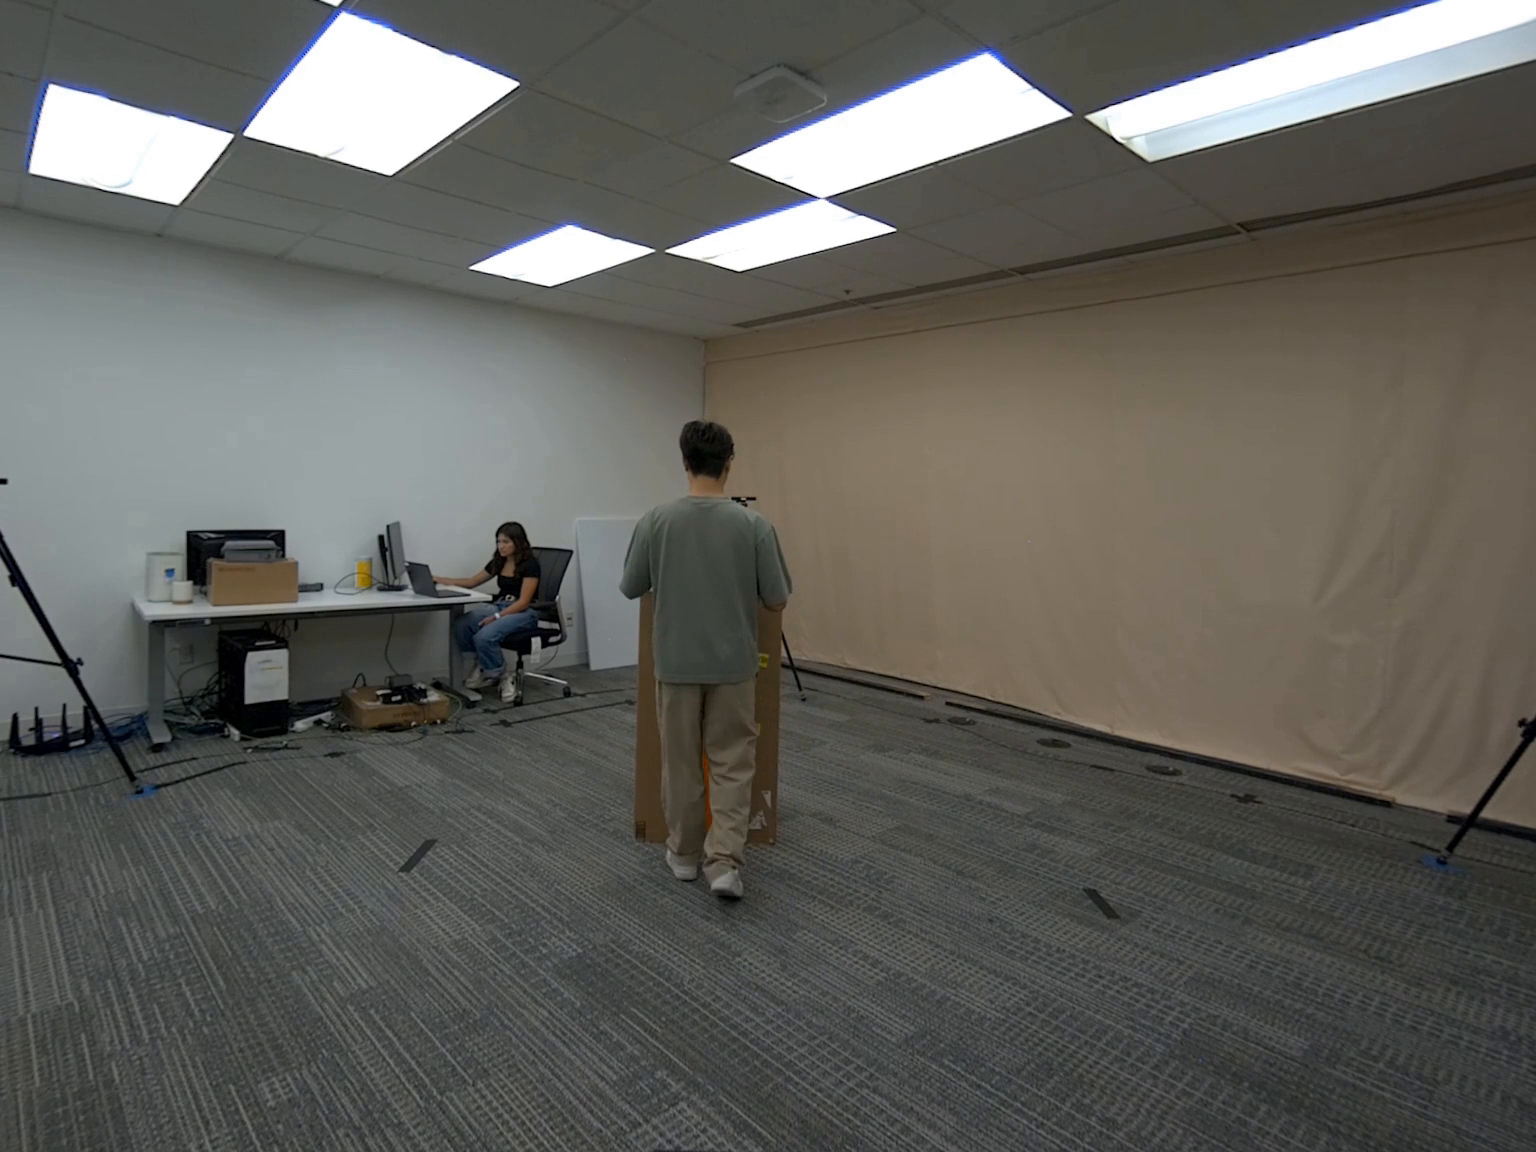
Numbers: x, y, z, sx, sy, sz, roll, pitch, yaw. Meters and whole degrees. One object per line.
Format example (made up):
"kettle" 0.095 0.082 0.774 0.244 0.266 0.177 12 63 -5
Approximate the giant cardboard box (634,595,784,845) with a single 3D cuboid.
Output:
"giant cardboard box" -0.258 0.553 3.583 0.576 1.024 0.428 2 3 -3
